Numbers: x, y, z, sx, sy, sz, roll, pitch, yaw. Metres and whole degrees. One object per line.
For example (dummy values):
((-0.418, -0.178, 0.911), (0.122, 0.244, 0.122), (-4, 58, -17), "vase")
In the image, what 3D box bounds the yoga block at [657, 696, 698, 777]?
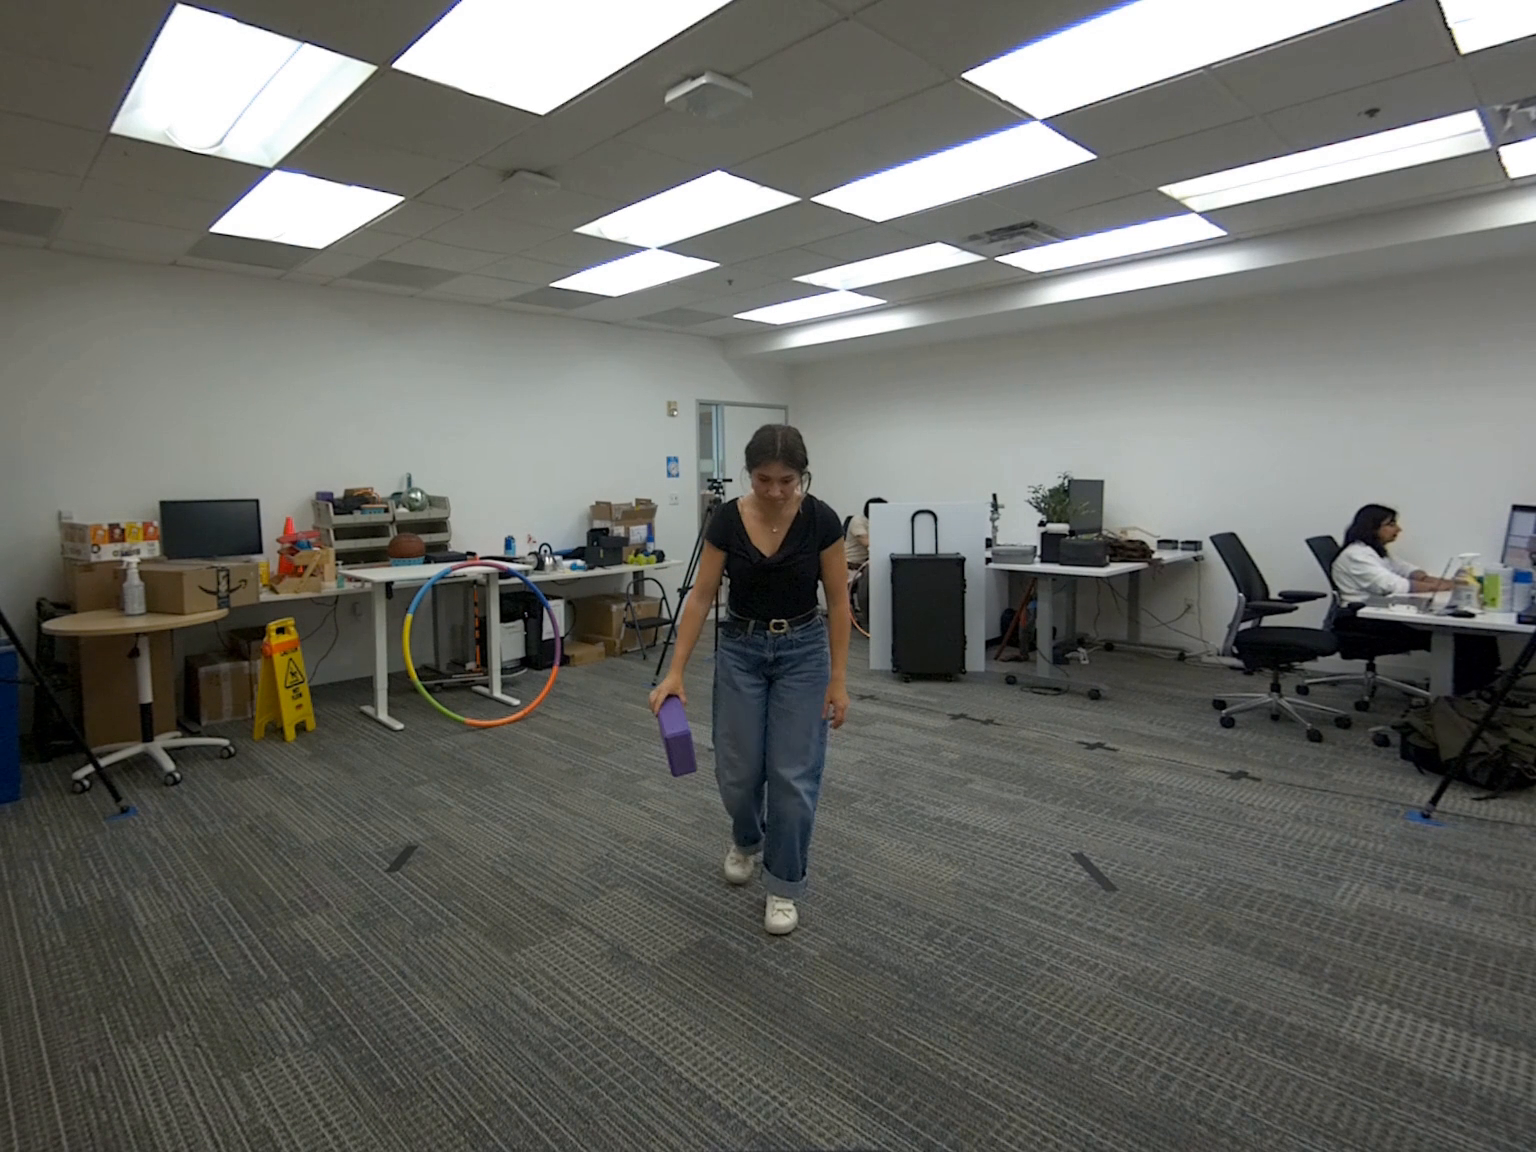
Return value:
((-0.263, 0.454, 2.468), (0.076, 0.146, 0.235), (-8, 22, -8), "yoga block")
